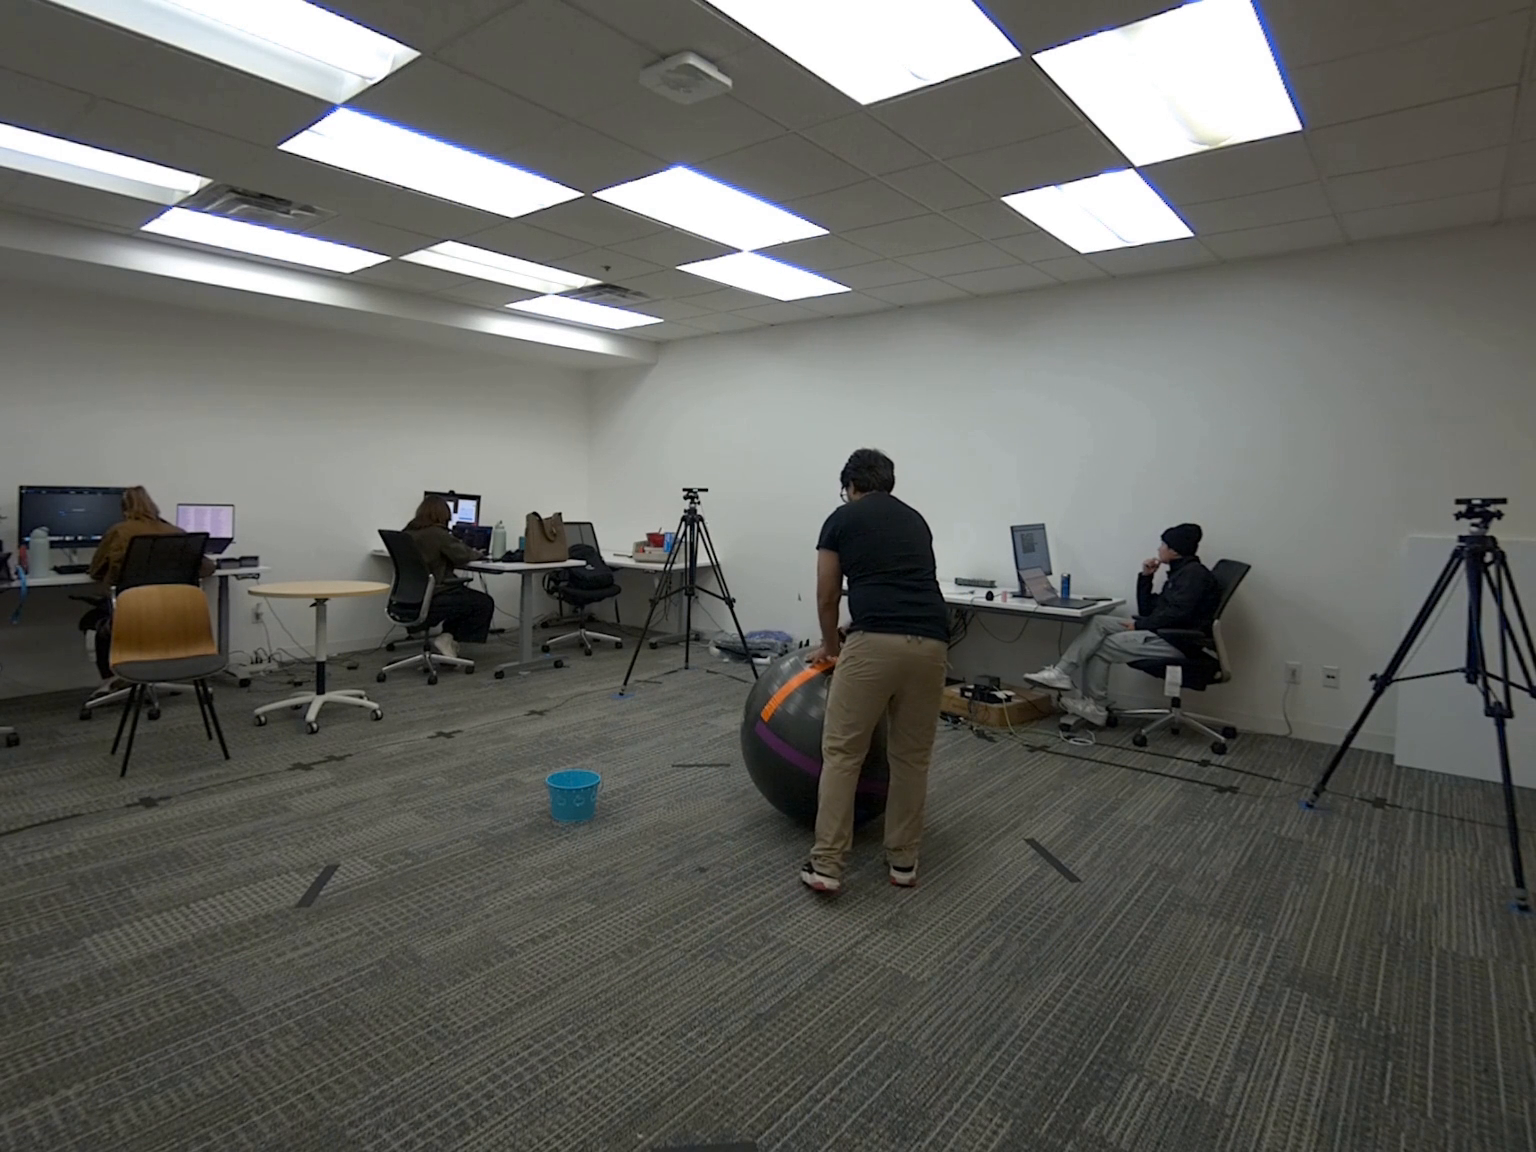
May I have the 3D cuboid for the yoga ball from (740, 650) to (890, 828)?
[{"bbox_3d":[0.254,0.670,3.611,0.757,0.755,0.762,1,4,-2],"label":"yoga ball"}]
